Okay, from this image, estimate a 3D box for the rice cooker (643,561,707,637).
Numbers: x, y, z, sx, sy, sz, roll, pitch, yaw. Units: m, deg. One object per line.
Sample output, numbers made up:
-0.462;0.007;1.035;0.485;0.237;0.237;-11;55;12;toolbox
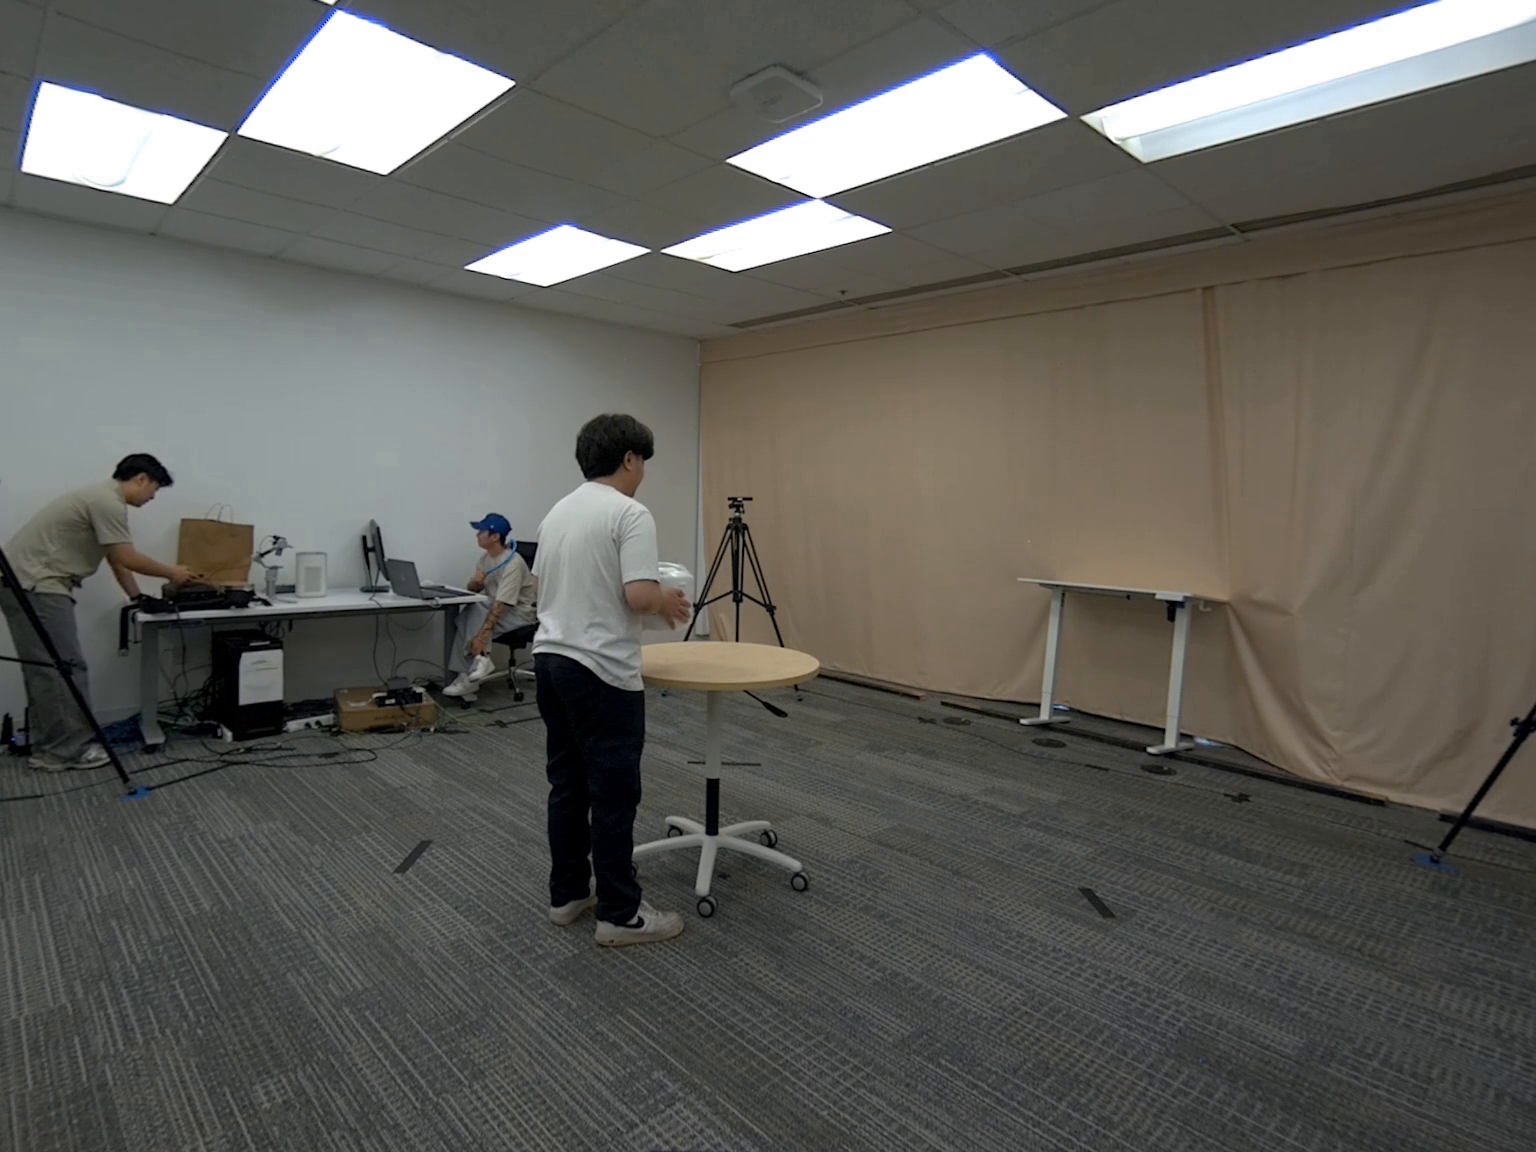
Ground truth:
-0.373;0.070;2.933;0.222;0.232;0.216;2;5;8;rice cooker
